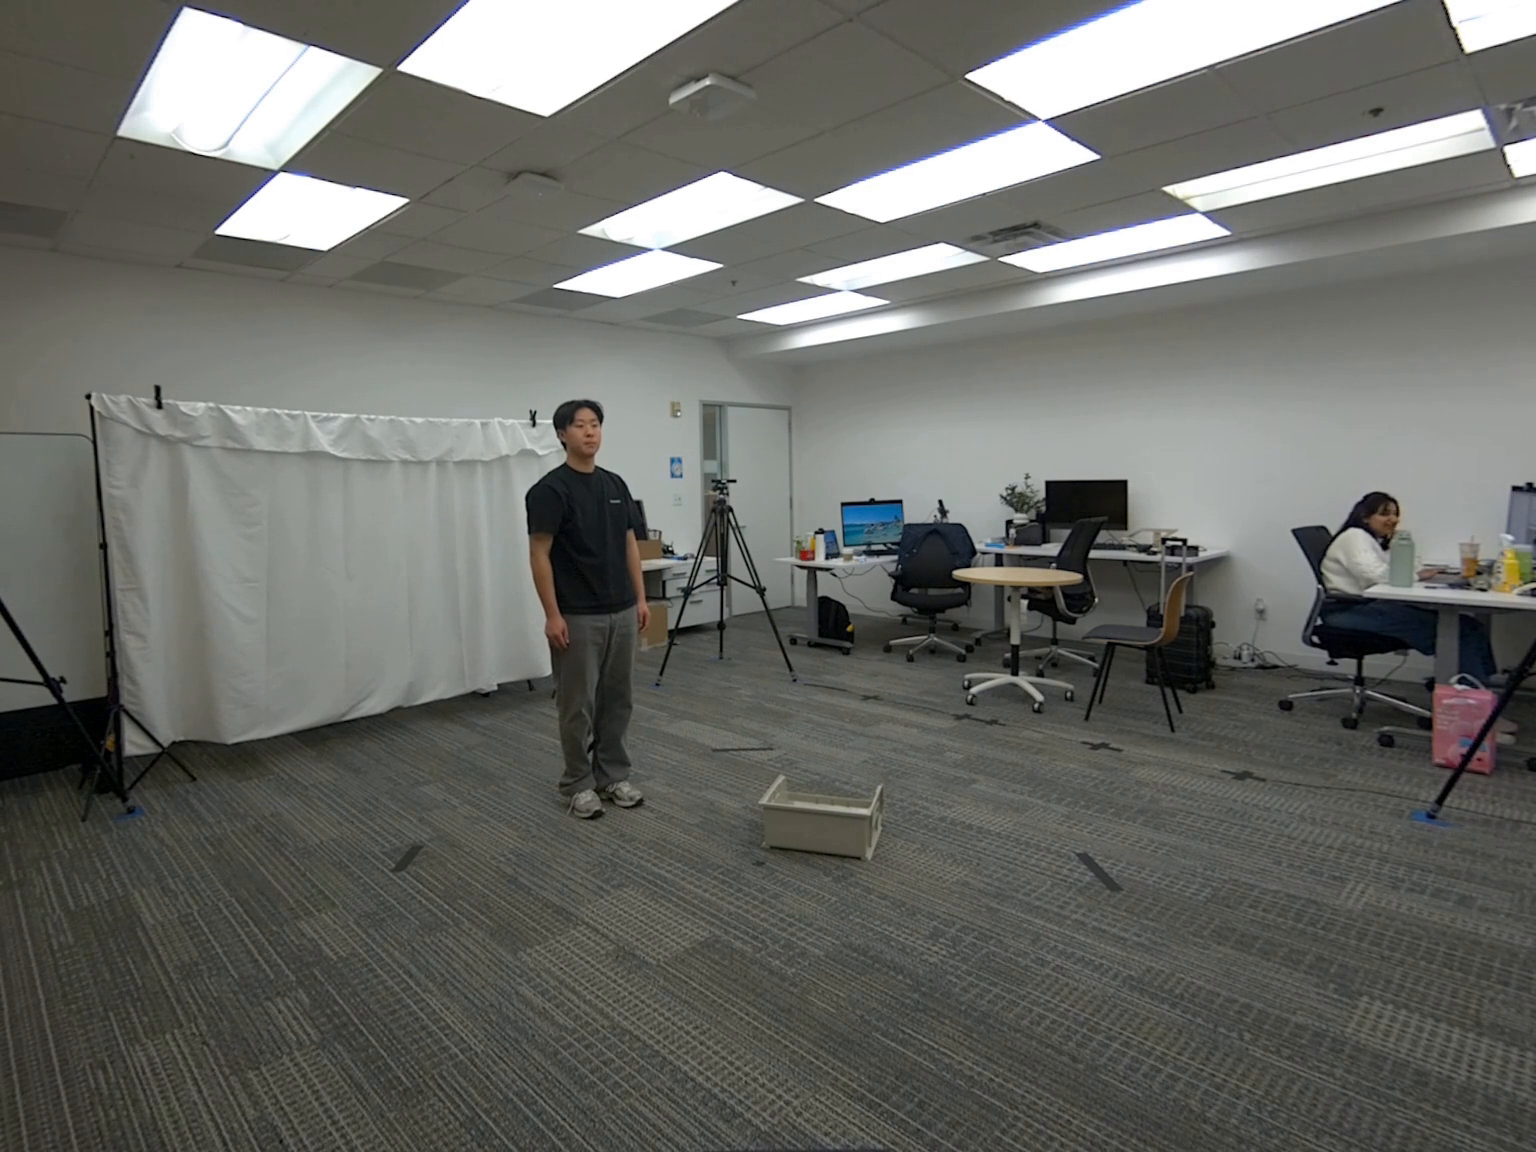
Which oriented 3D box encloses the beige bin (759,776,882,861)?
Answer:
[{"bbox_3d":[0.217,0.928,3.340,0.430,0.188,0.373,1,8,17],"label":"beige bin"}]
